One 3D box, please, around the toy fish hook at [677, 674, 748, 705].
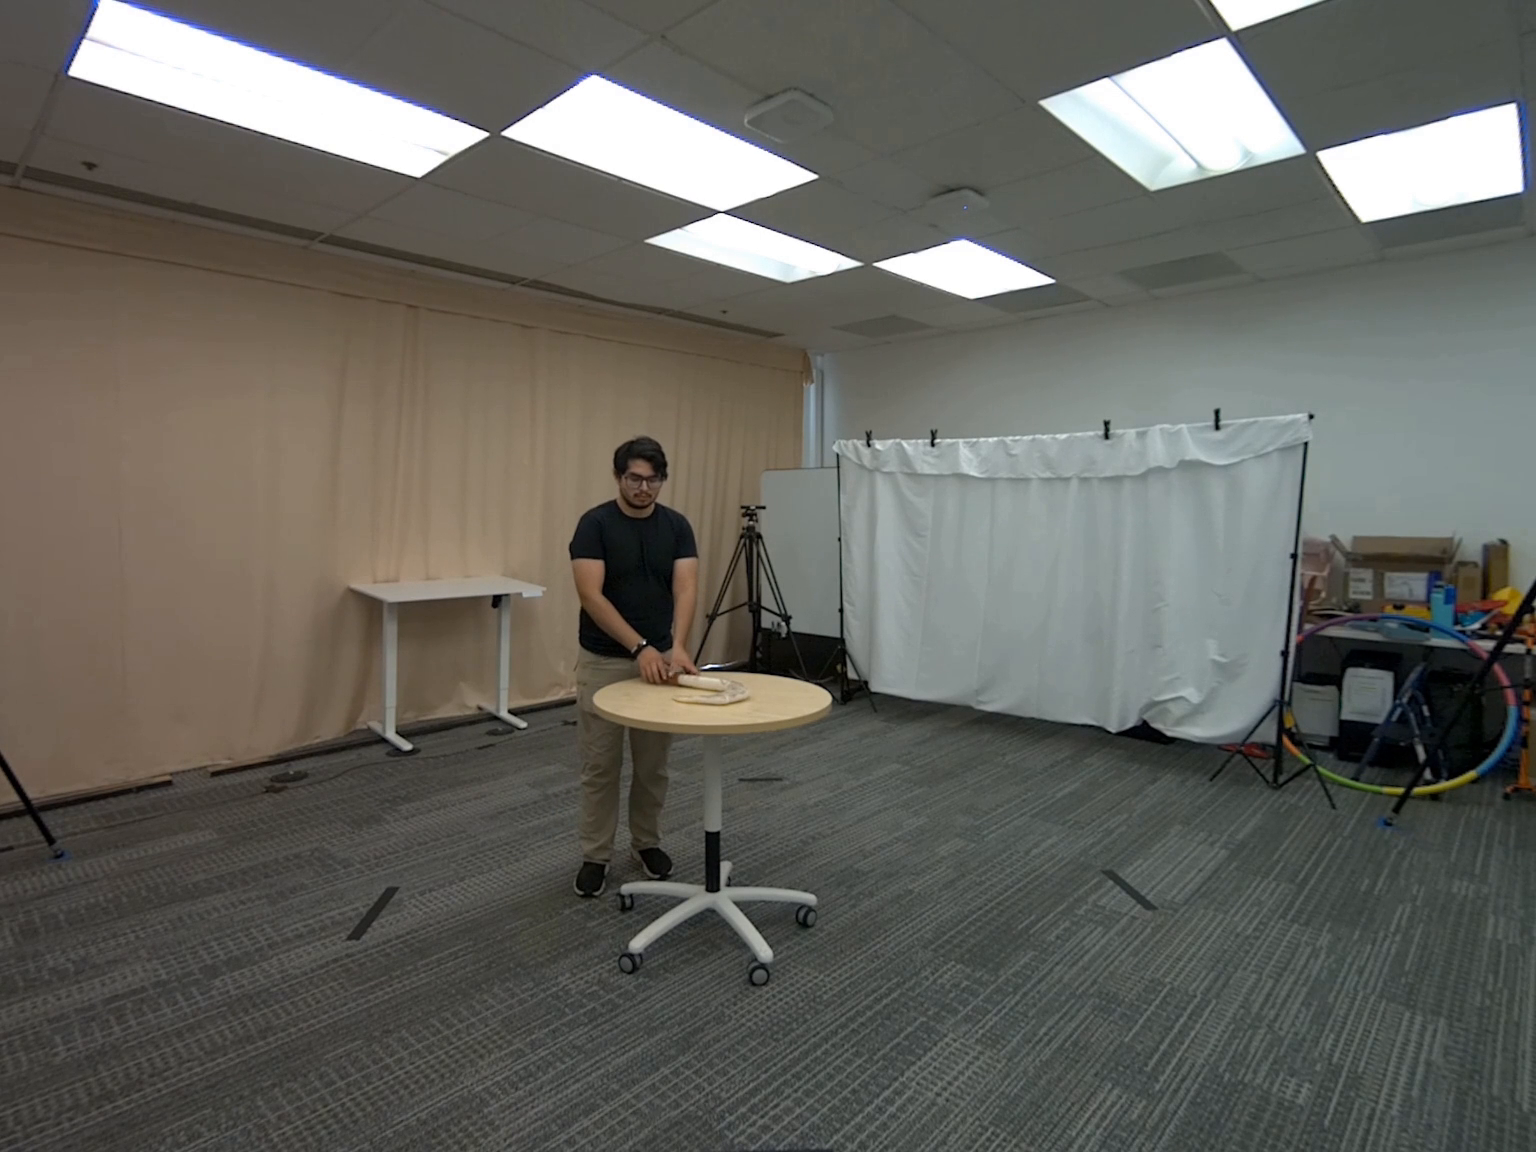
[{"bbox_3d":[-0.283,0.361,2.761,0.523,0.048,0.217,3,3,43],"label":"toy fish hook"}]
